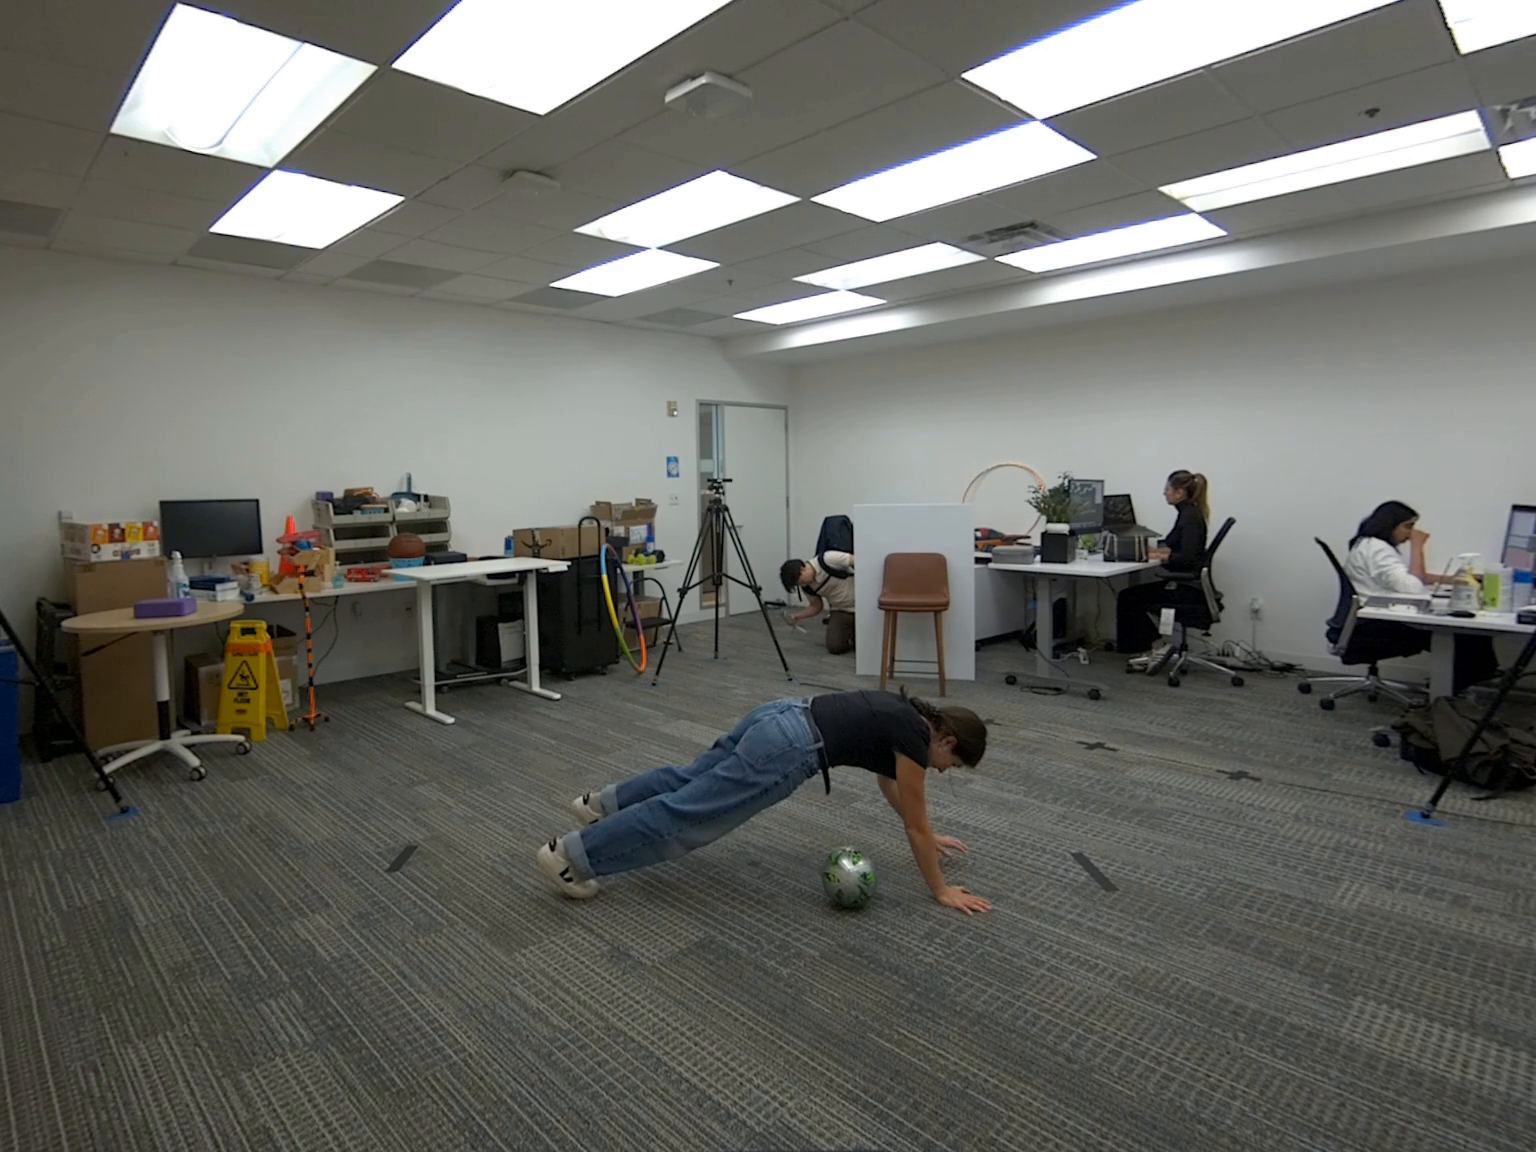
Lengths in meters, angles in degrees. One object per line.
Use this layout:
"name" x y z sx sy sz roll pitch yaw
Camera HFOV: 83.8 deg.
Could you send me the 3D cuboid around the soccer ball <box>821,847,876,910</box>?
"soccer ball" 0.262 0.969 2.792 0.187 0.187 0.188 -1 5 -2
